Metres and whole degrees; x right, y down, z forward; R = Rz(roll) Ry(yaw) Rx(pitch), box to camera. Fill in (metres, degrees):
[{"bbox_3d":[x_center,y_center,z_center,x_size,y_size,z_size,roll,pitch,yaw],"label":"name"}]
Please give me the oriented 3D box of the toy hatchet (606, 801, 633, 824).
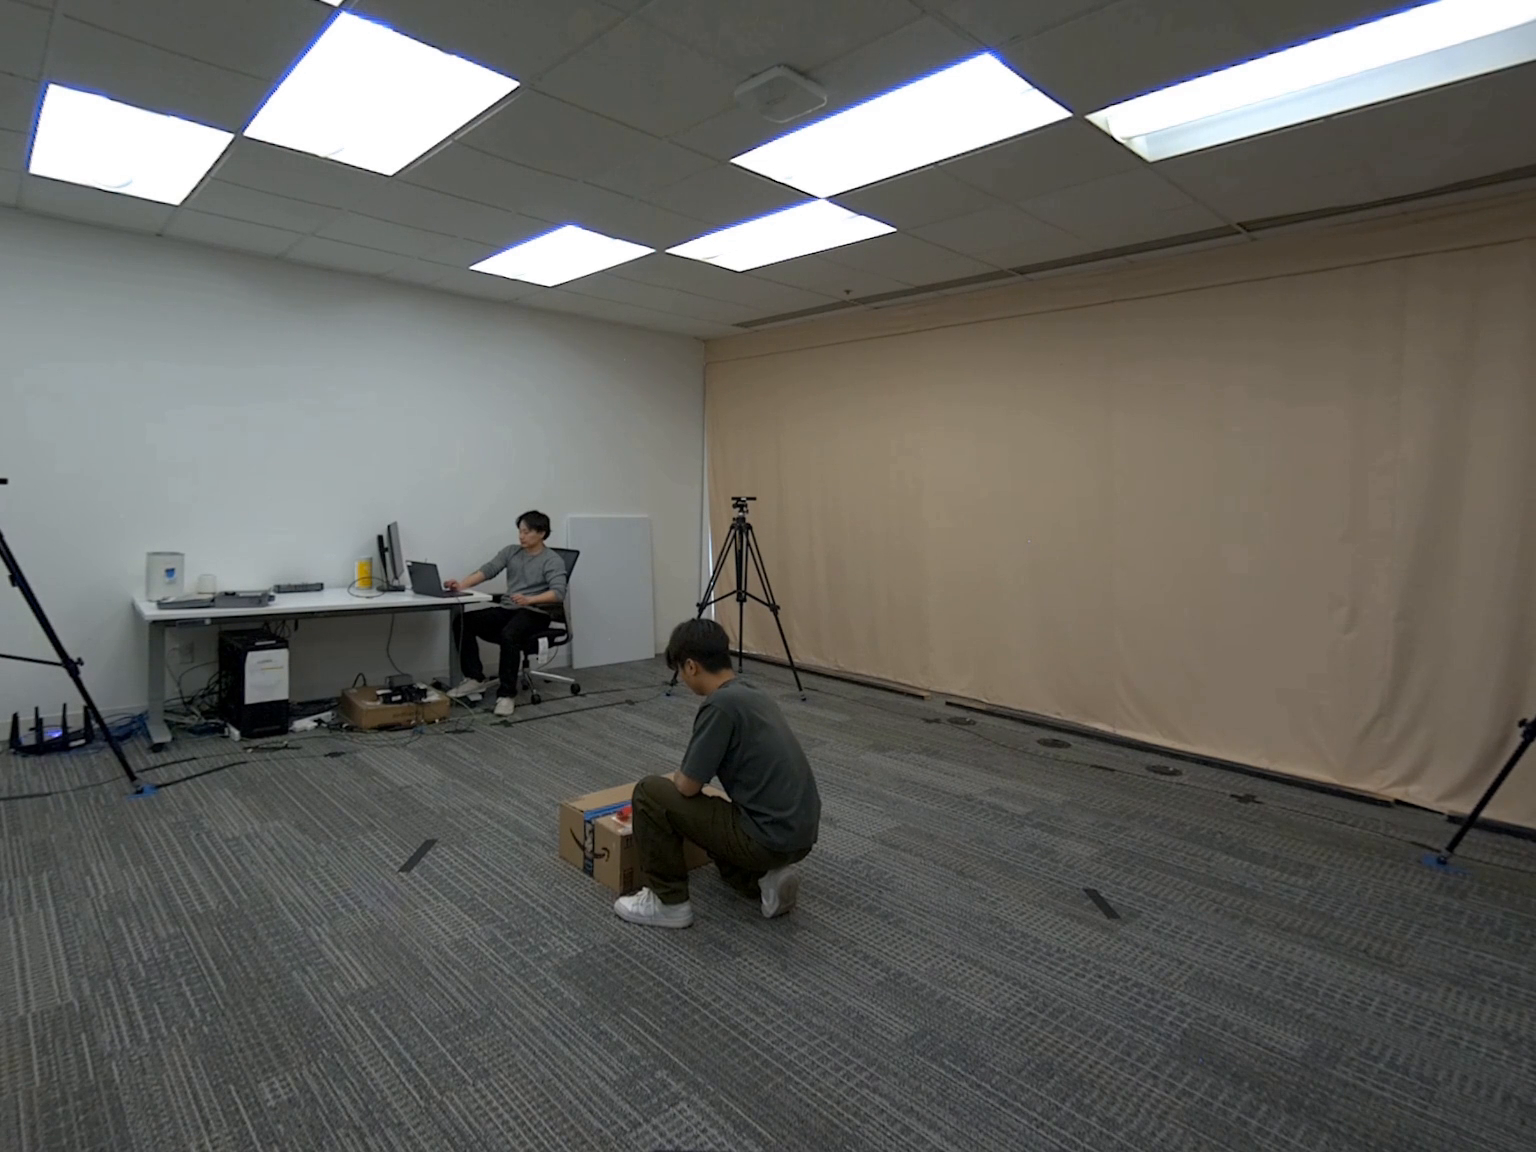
[{"bbox_3d":[-0.457,0.857,3.117,0.132,0.030,0.263,-34,-24,24],"label":"toy hatchet"}]
